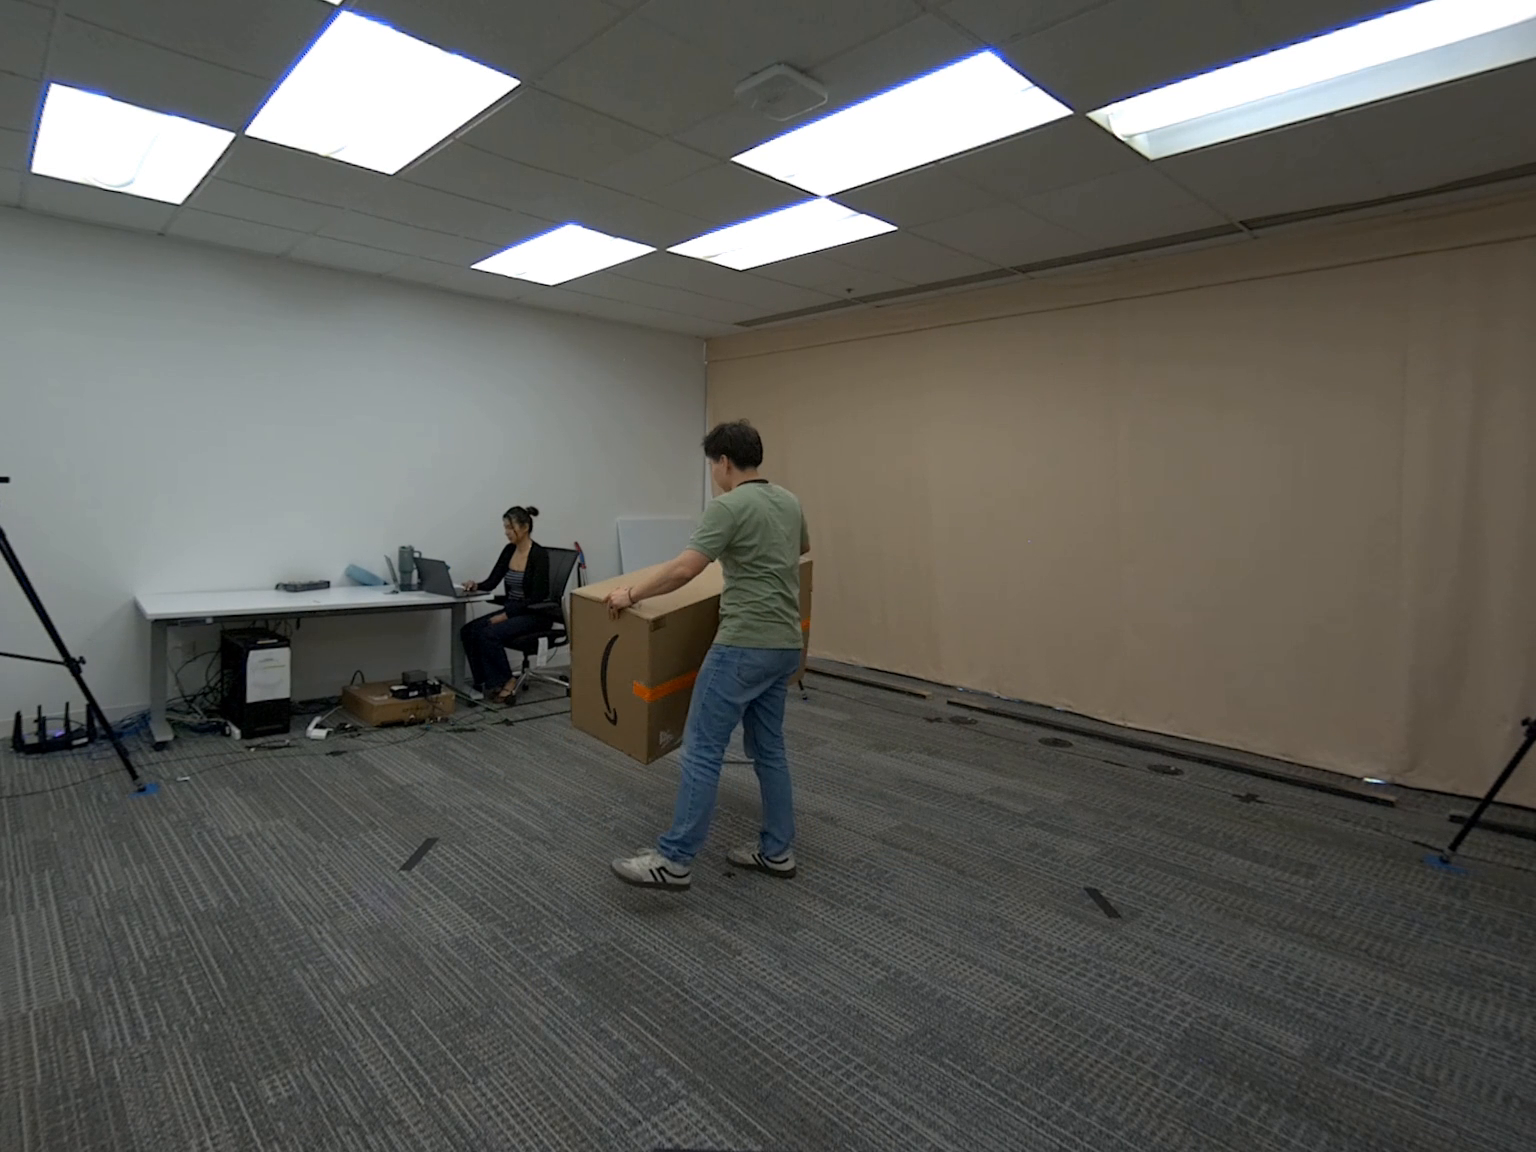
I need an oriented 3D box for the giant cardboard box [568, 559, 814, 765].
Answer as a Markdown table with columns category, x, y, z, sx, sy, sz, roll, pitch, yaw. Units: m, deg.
| category | x | y | z | sx | sy | sz | roll | pitch | yaw |
| --- | --- | --- | --- | --- | --- | --- | --- | --- | --- |
| giant cardboard box | -0.293 | 0.266 | 3.500 | 0.438 | 0.570 | 1.010 | 16 | 23 | 35 |
